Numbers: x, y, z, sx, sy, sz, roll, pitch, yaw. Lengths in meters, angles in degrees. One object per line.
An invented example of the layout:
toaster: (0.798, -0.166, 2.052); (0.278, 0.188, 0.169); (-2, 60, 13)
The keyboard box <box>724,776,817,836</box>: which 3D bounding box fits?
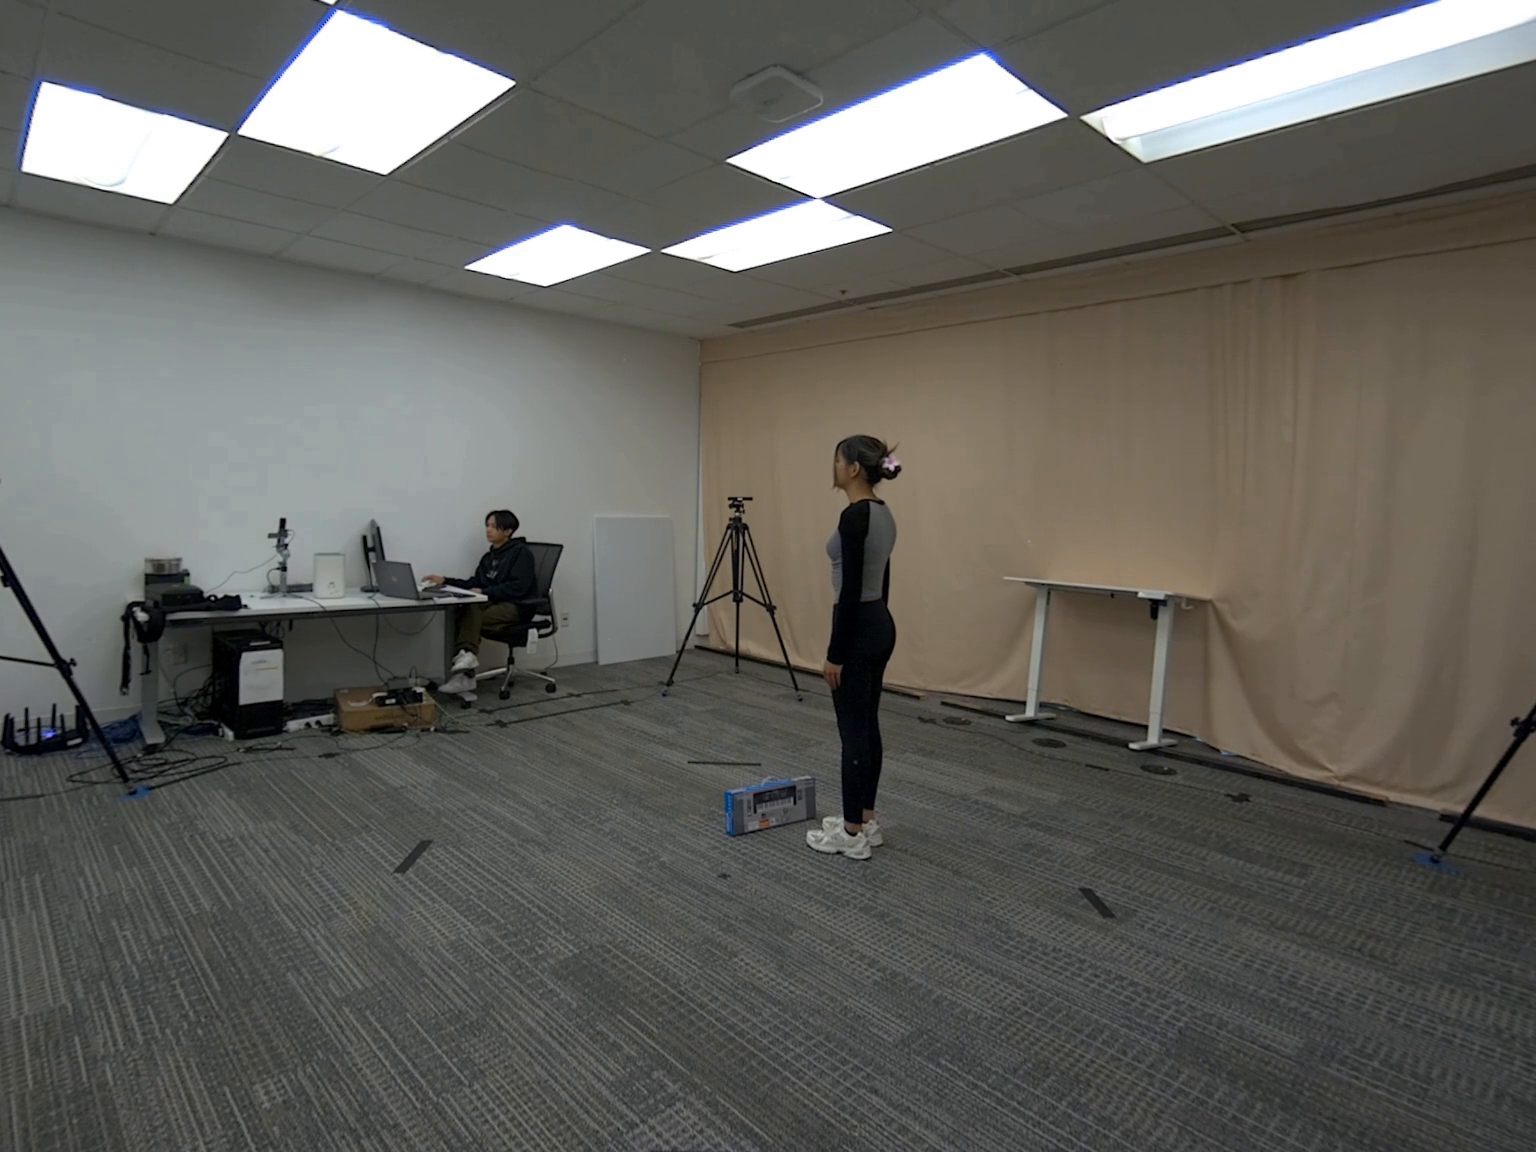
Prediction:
keyboard box: (0.008, 0.980, 3.607); (0.427, 0.176, 0.060); (-1, -2, -34)
